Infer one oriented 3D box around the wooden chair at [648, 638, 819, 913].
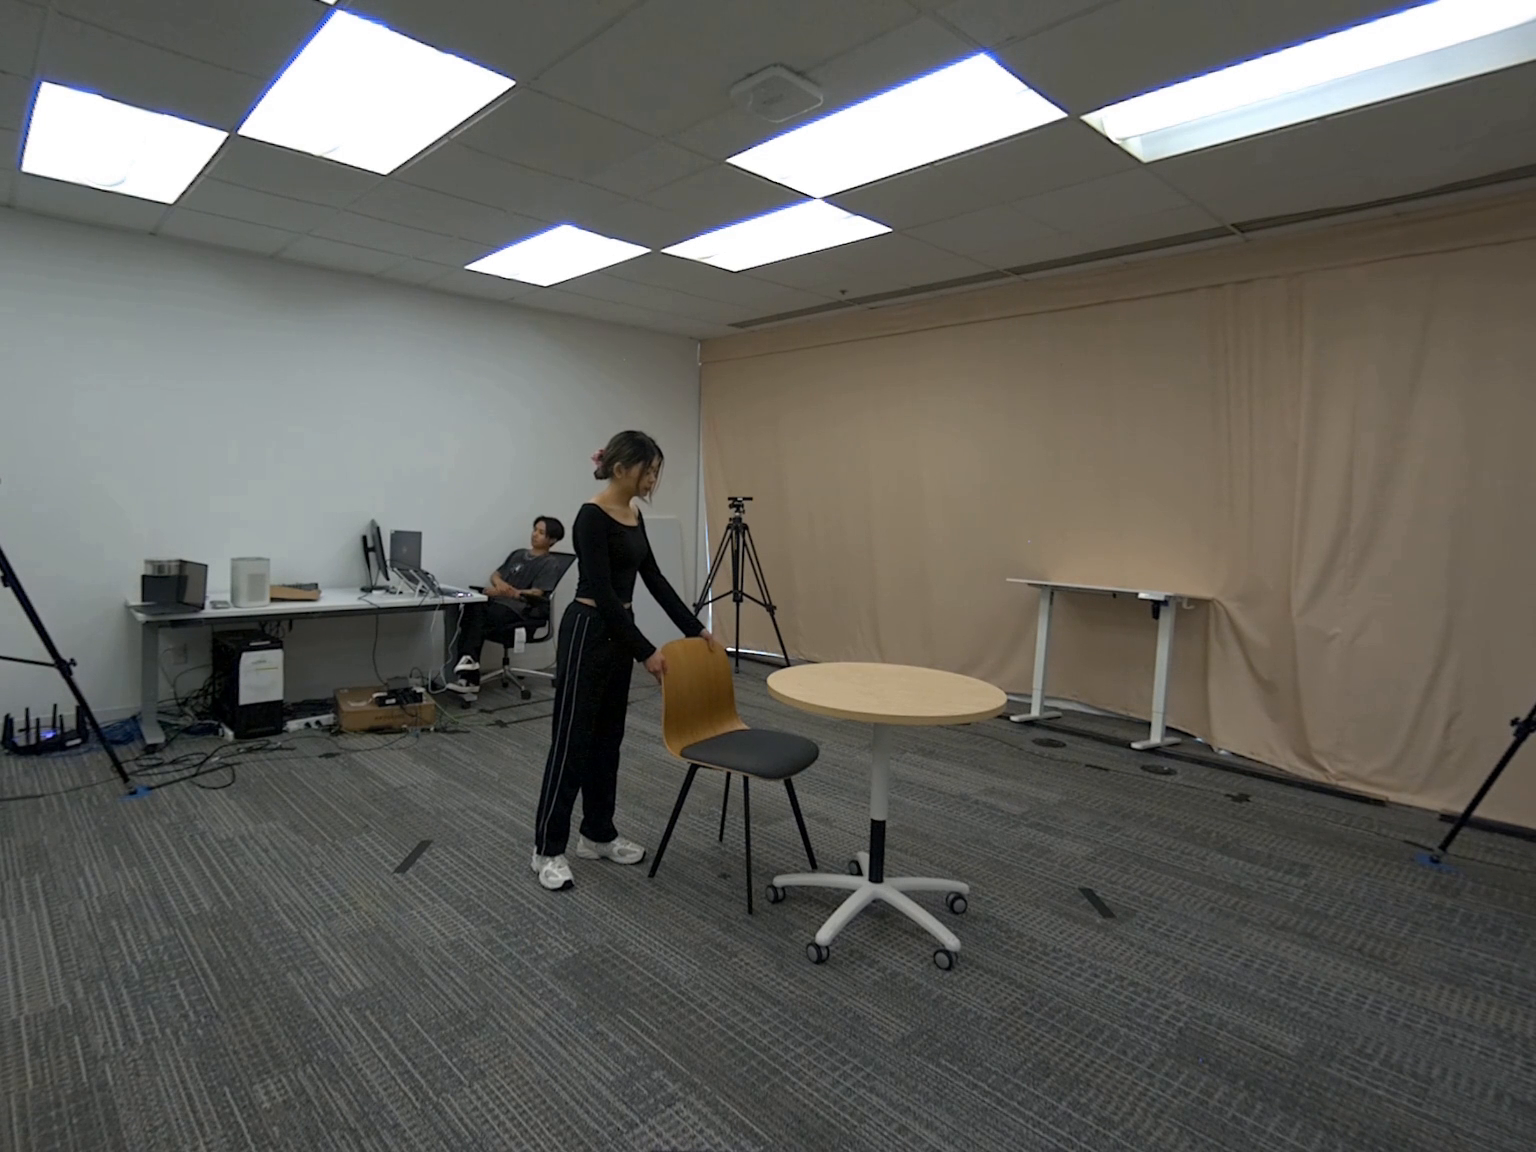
[{"bbox_3d":[-0.116,0.680,3.093,0.534,0.877,0.468,-2,1,35],"label":"wooden chair"}]
